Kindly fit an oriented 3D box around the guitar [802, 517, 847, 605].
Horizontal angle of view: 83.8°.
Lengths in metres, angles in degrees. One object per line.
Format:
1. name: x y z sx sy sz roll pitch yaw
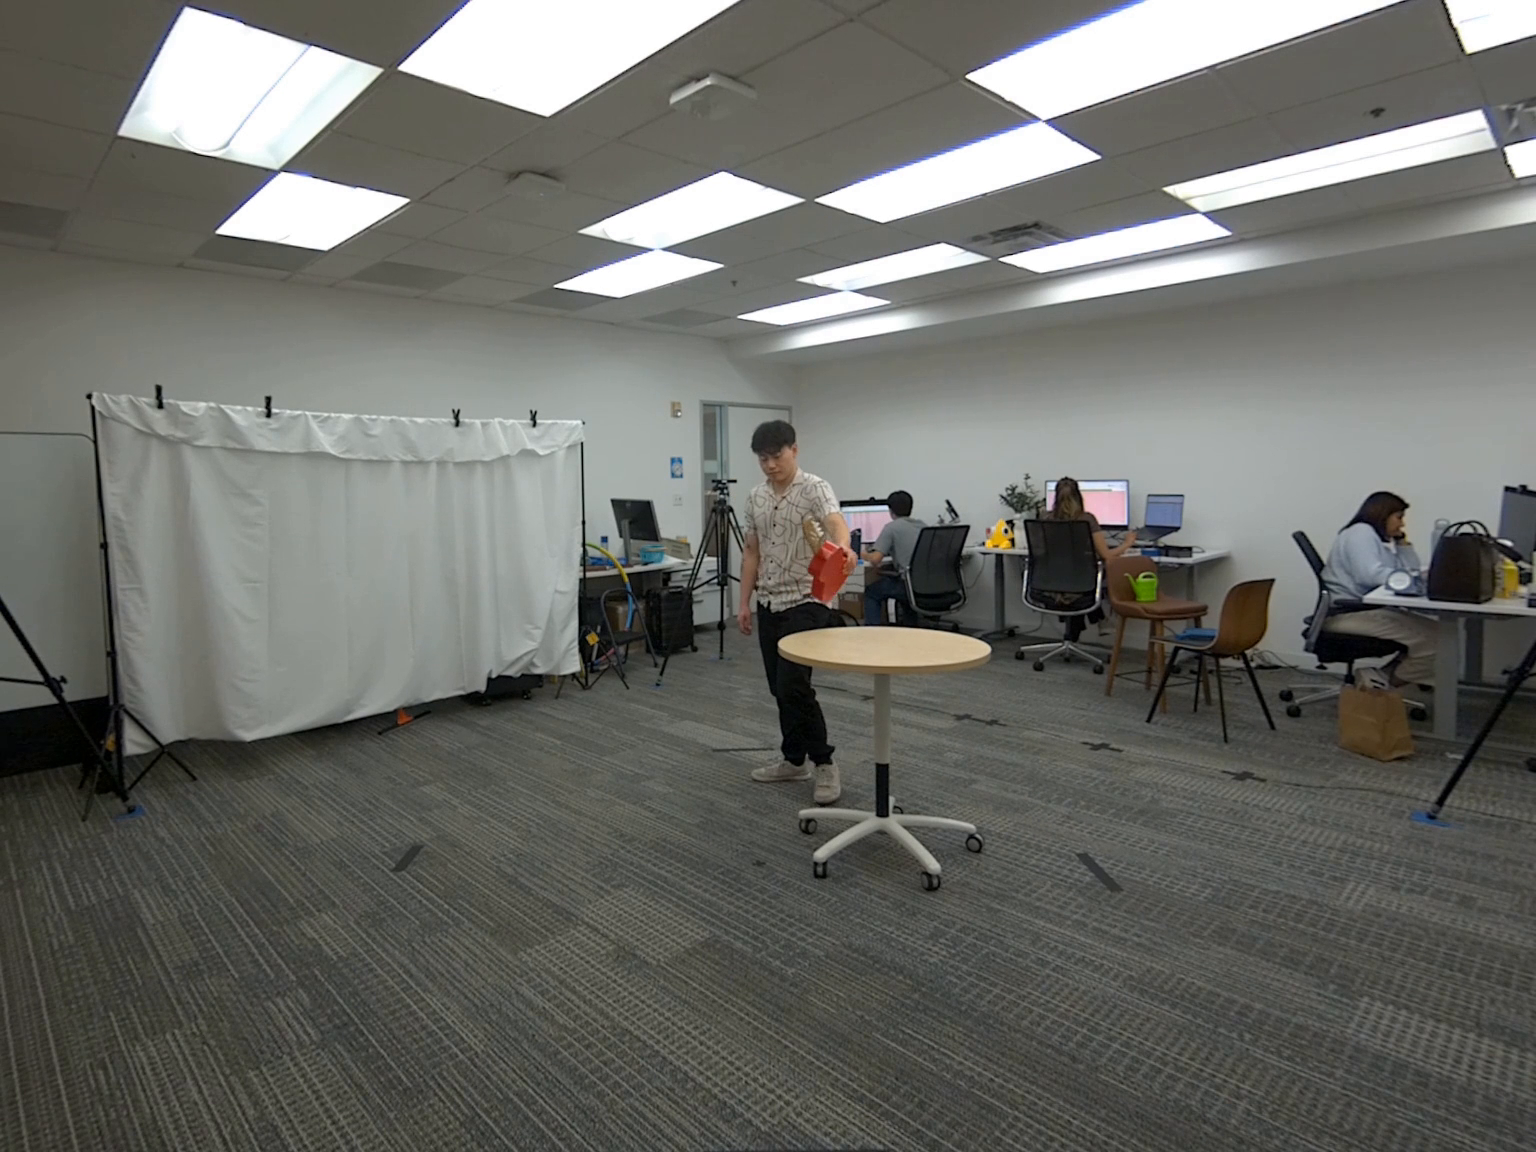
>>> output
1. guitar: 0.184 -0.047 3.099 0.073 0.193 0.481 28 -8 26
